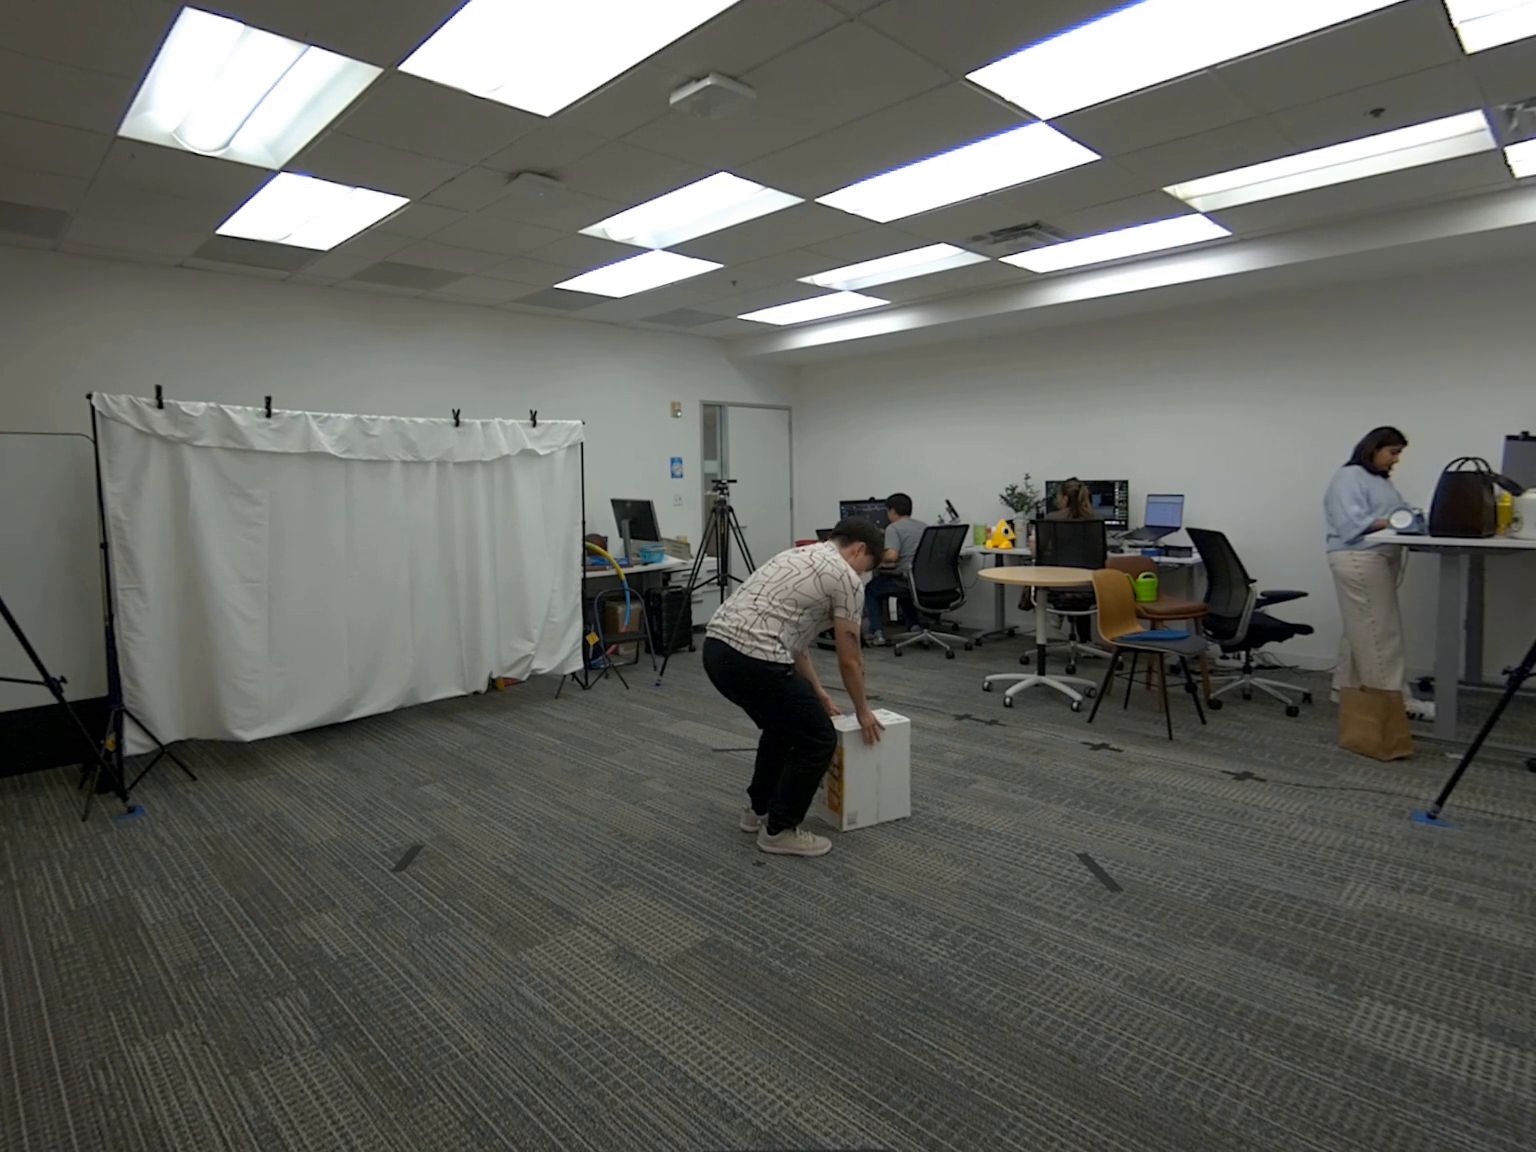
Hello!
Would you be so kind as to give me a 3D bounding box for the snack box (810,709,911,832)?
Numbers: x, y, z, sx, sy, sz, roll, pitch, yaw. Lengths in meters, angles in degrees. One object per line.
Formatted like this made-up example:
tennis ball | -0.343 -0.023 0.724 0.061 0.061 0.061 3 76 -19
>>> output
snack box | 0.393 0.791 3.524 0.333 0.404 0.211 -3 5 -28
